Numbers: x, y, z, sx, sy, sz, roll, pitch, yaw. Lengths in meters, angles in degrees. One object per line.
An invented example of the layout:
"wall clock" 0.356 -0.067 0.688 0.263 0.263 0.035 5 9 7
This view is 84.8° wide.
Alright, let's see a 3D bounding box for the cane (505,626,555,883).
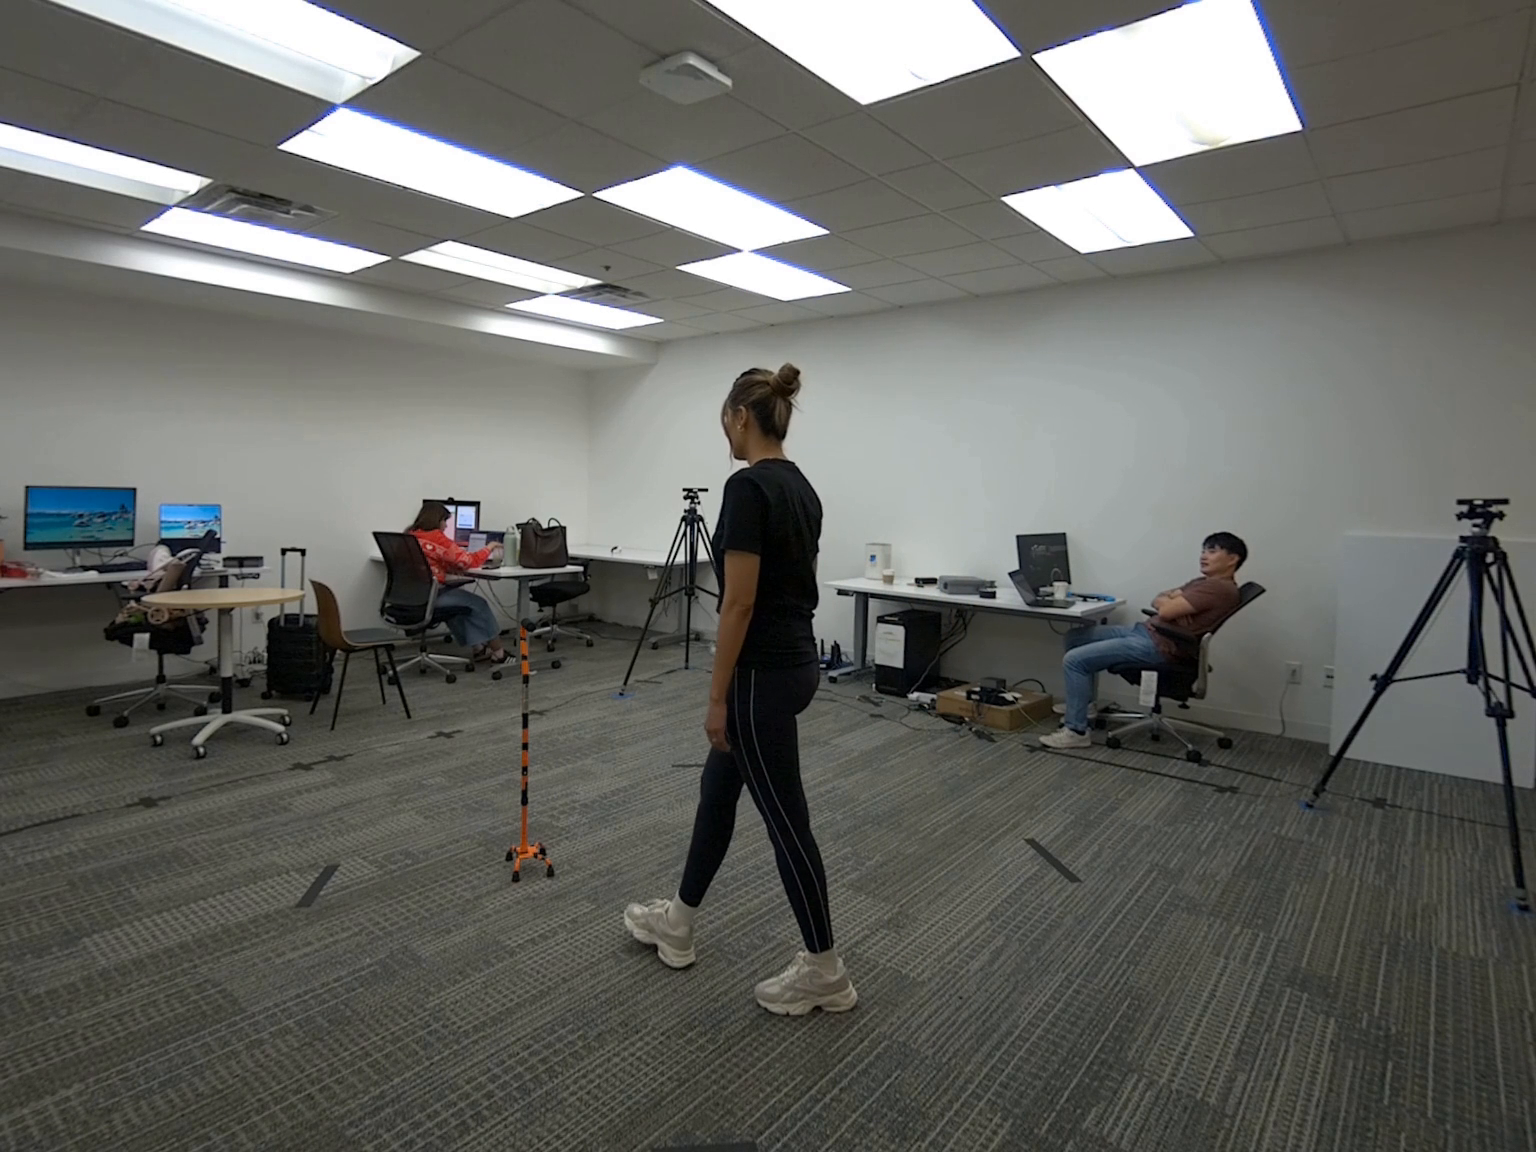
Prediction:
"cane" -0.873 0.609 3.070 0.148 0.905 0.211 0 3 -22
